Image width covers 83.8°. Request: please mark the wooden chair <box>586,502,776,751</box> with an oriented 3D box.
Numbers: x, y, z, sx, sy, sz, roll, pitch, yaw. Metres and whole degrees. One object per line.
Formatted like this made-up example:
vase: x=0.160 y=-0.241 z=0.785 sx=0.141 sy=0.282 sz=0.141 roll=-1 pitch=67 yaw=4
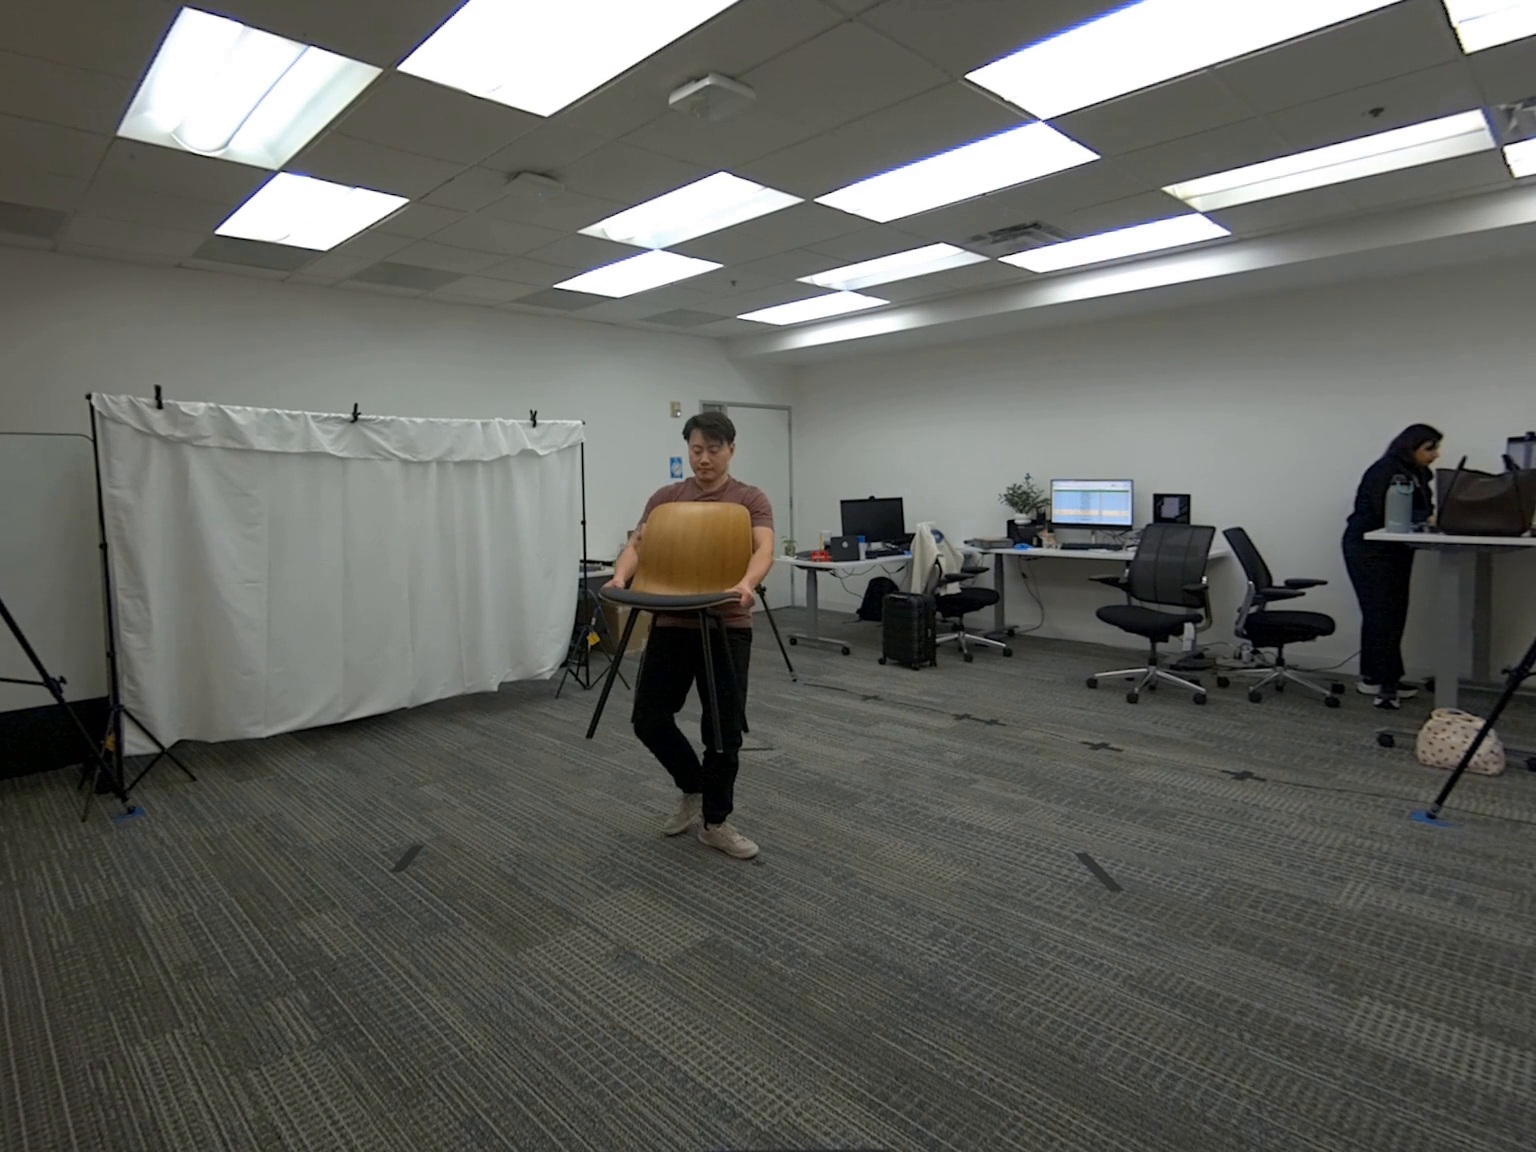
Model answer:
wooden chair: x=-0.315 y=0.129 z=2.947 sx=0.484 sy=0.883 sz=0.513 roll=3 pitch=-8 yaw=12
